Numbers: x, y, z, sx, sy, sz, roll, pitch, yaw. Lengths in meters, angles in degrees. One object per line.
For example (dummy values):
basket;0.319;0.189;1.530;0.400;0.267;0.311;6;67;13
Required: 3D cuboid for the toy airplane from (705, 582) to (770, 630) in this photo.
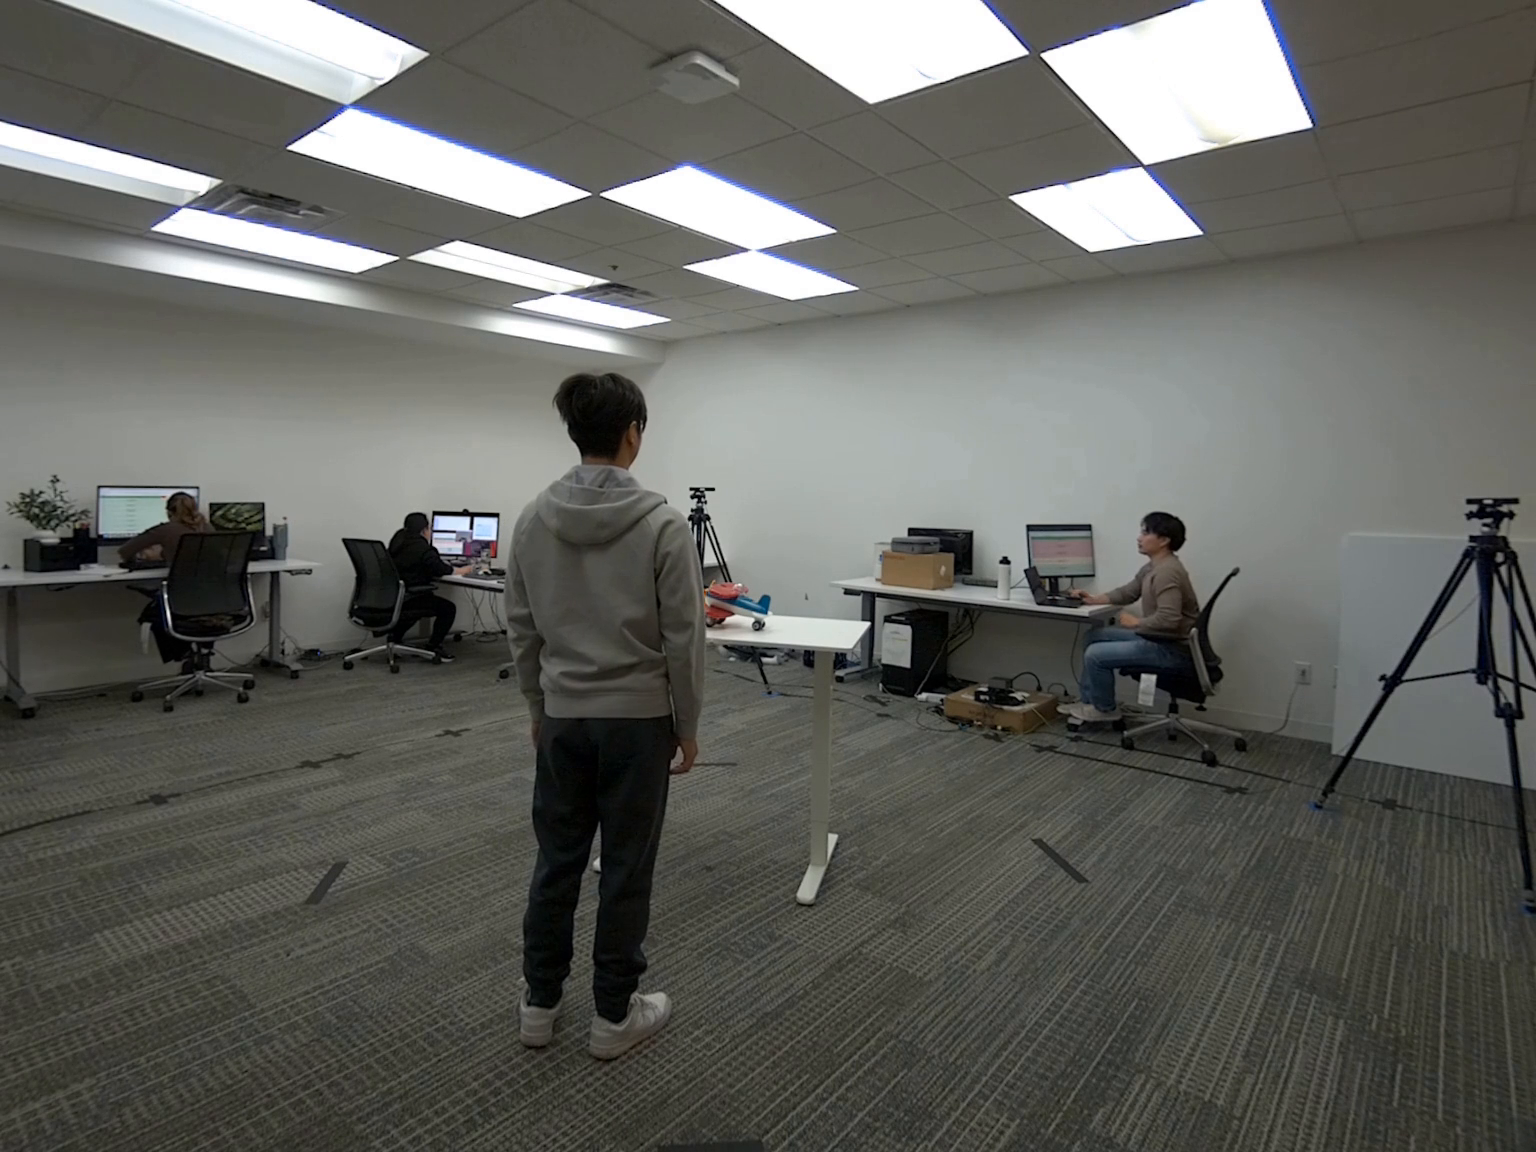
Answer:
toy airplane;-0.130;0.107;3.132;0.257;0.155;0.254;0;6;-7
